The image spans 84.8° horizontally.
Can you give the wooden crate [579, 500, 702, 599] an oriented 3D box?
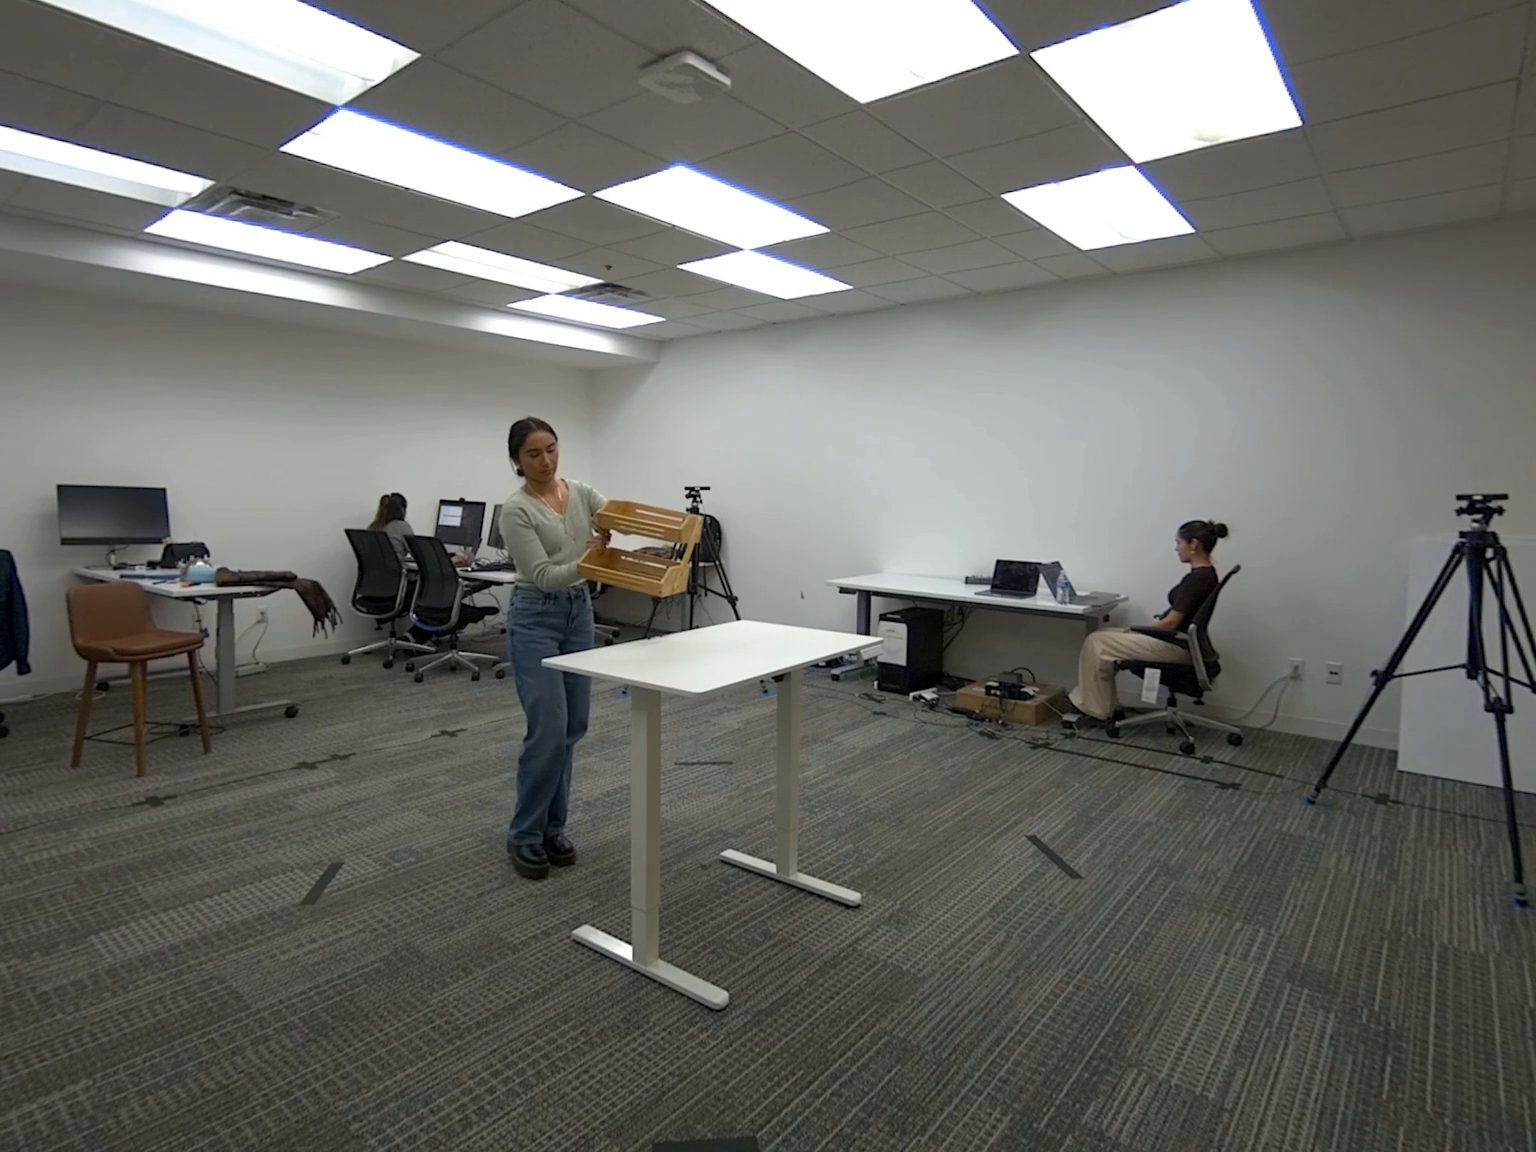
[{"bbox_3d":[-0.433,-0.098,2.832,0.331,0.272,0.298,12,7,14],"label":"wooden crate"}]
